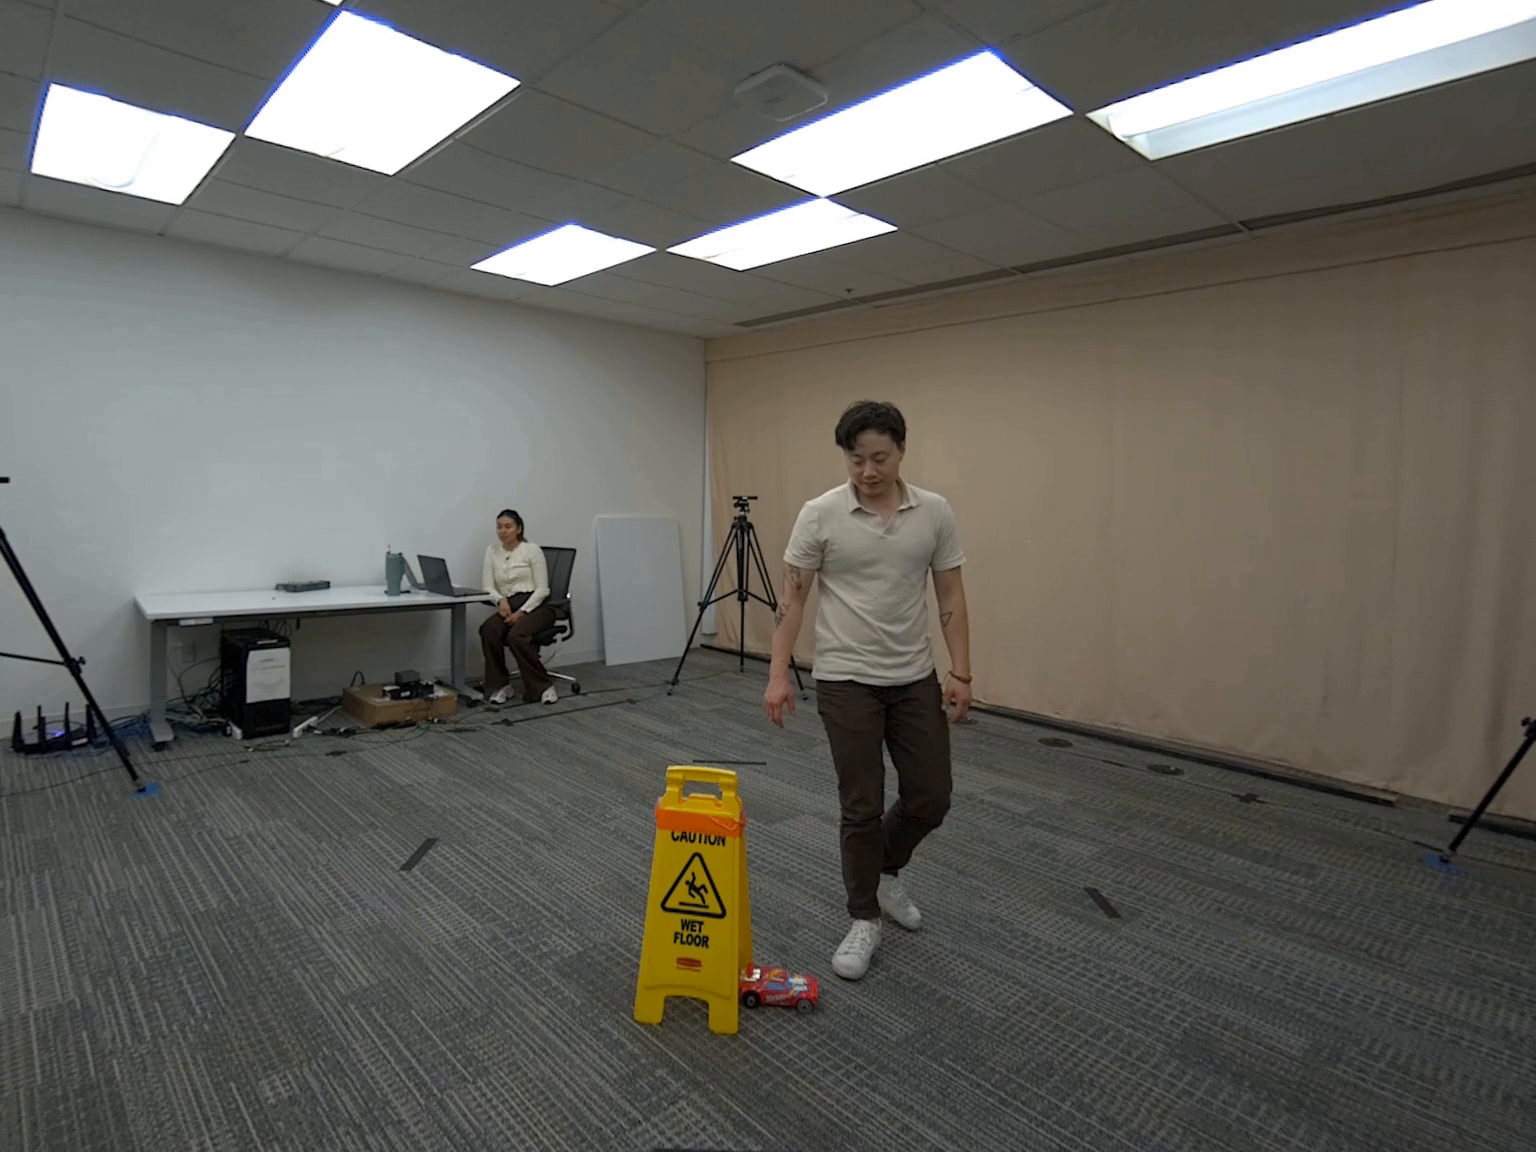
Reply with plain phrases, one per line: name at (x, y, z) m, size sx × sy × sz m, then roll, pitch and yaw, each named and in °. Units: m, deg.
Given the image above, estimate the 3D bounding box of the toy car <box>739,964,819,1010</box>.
toy car at (0.003, 1.147, 2.332) m, size 0.256 × 0.083 × 0.130 m, roll 12°, pitch 6°, yaw 6°
